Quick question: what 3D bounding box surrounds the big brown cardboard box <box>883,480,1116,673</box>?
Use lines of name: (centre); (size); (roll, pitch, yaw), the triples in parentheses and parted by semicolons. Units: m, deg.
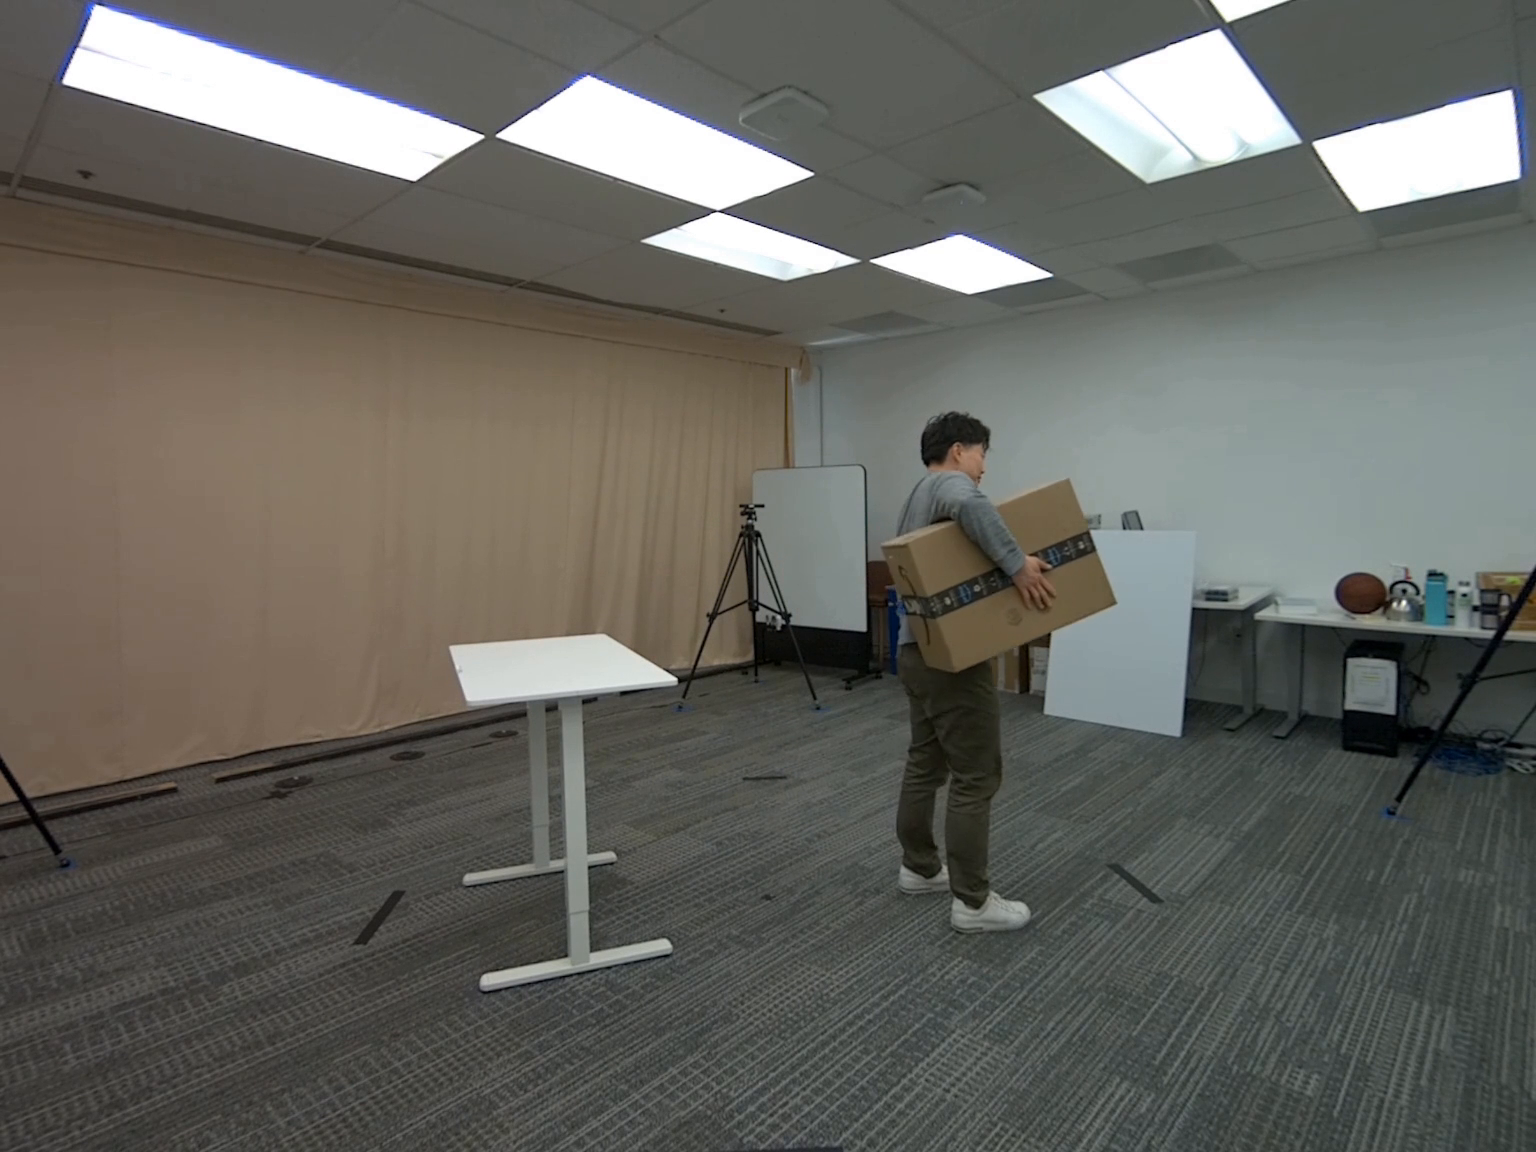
big brown cardboard box: (0.711, 0.004, 2.616); (0.585, 0.417, 0.235); (-19, 1, -8)
